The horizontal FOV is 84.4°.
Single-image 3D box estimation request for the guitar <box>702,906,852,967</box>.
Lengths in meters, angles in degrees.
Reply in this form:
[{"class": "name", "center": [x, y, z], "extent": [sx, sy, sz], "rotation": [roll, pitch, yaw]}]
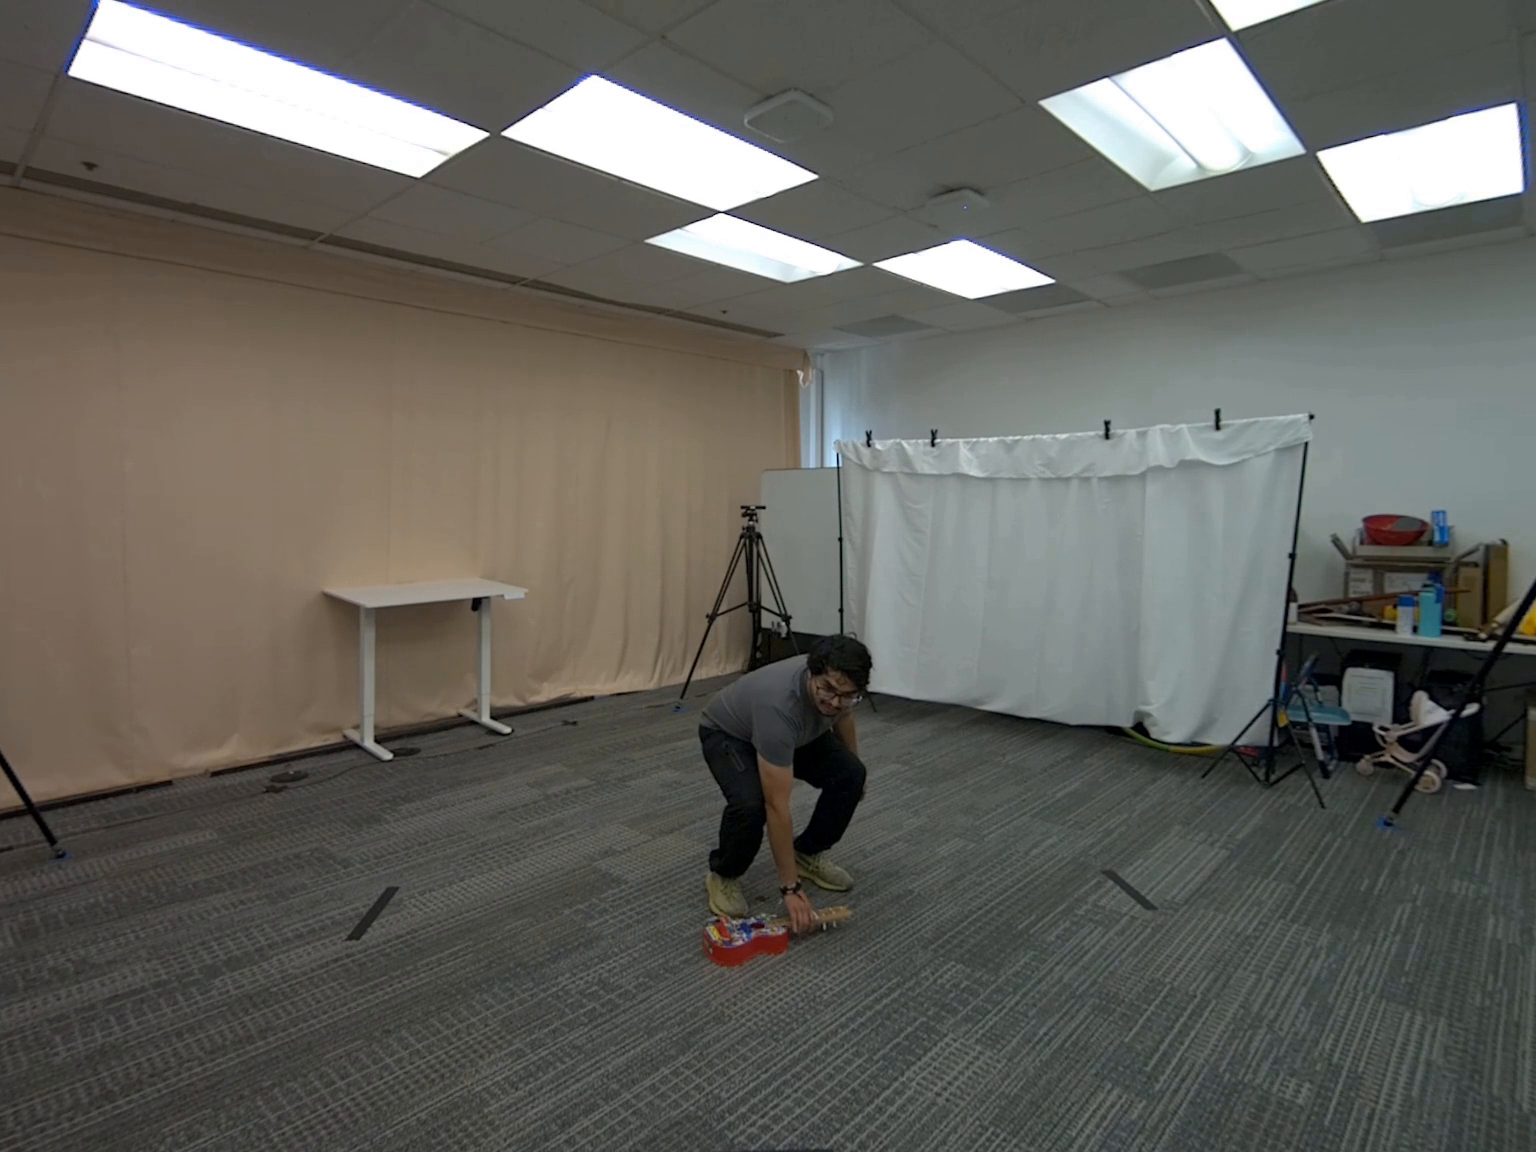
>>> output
[{"class": "guitar", "center": [0.052, 1.130, 2.671], "extent": [0.492, 0.070, 0.196], "rotation": [-1, 5, -10]}]
